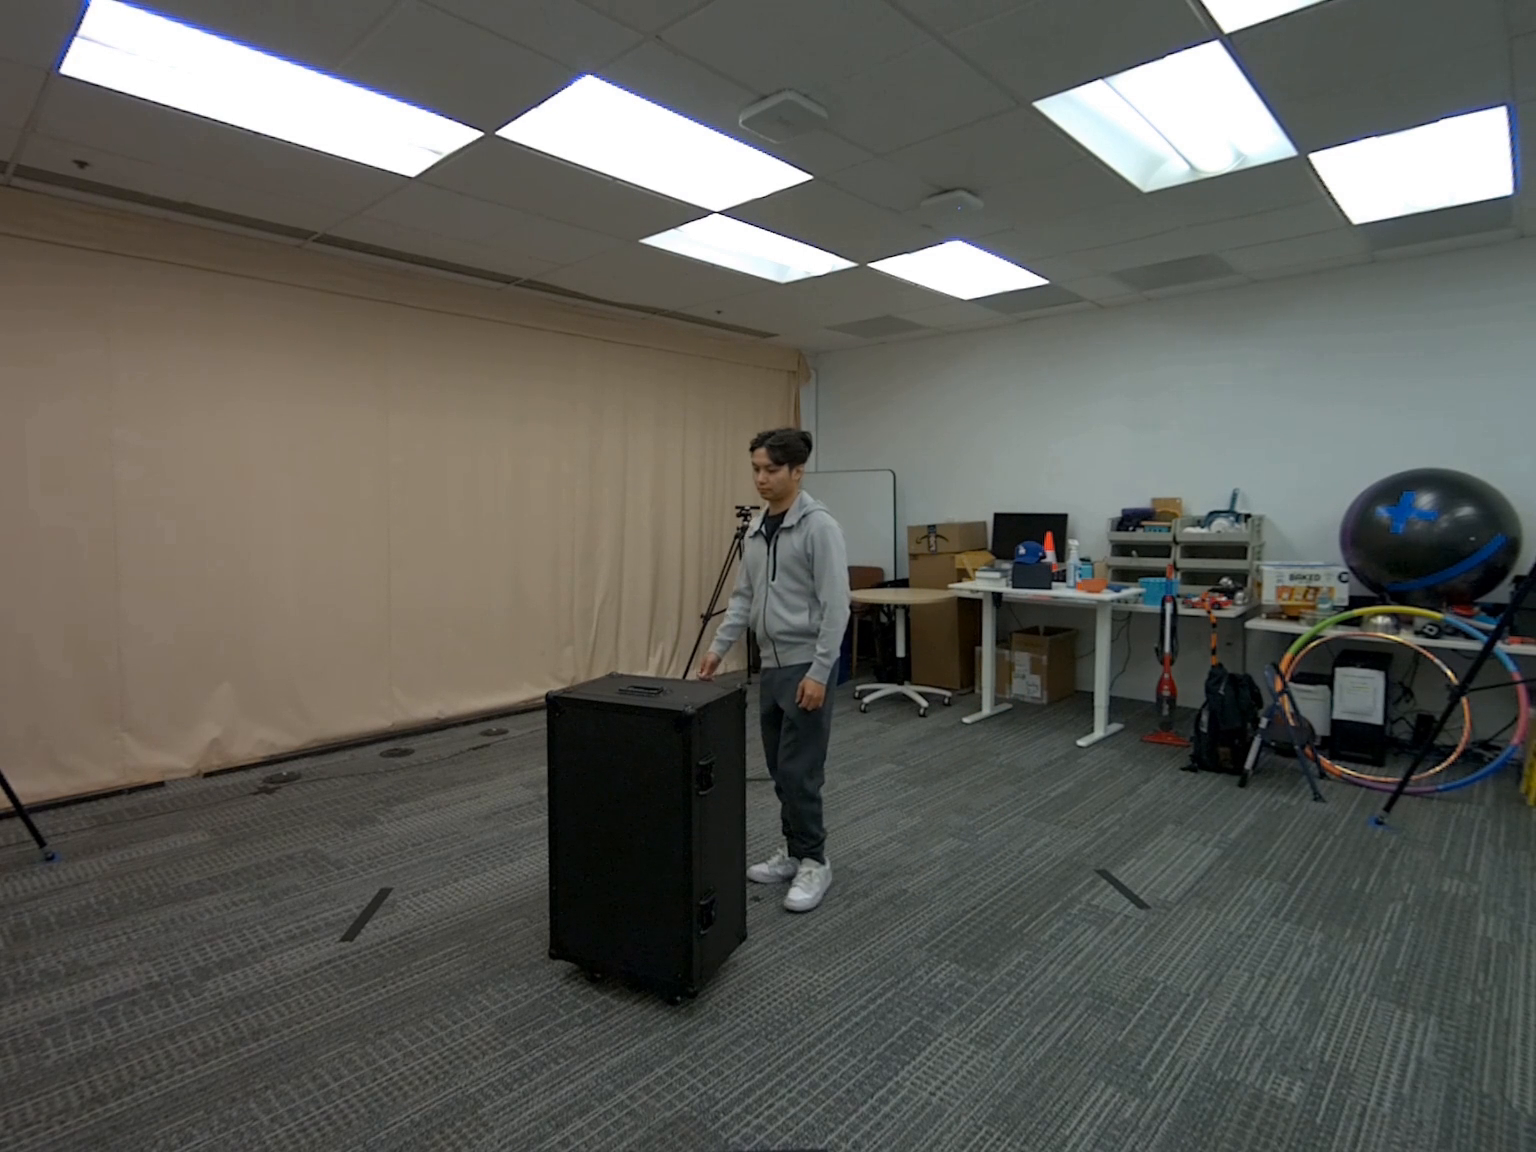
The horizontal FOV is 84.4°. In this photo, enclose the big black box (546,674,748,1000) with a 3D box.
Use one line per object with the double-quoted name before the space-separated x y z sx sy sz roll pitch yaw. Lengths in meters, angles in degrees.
"big black box" -0.355 0.762 2.513 0.534 0.860 0.387 1 2 25
